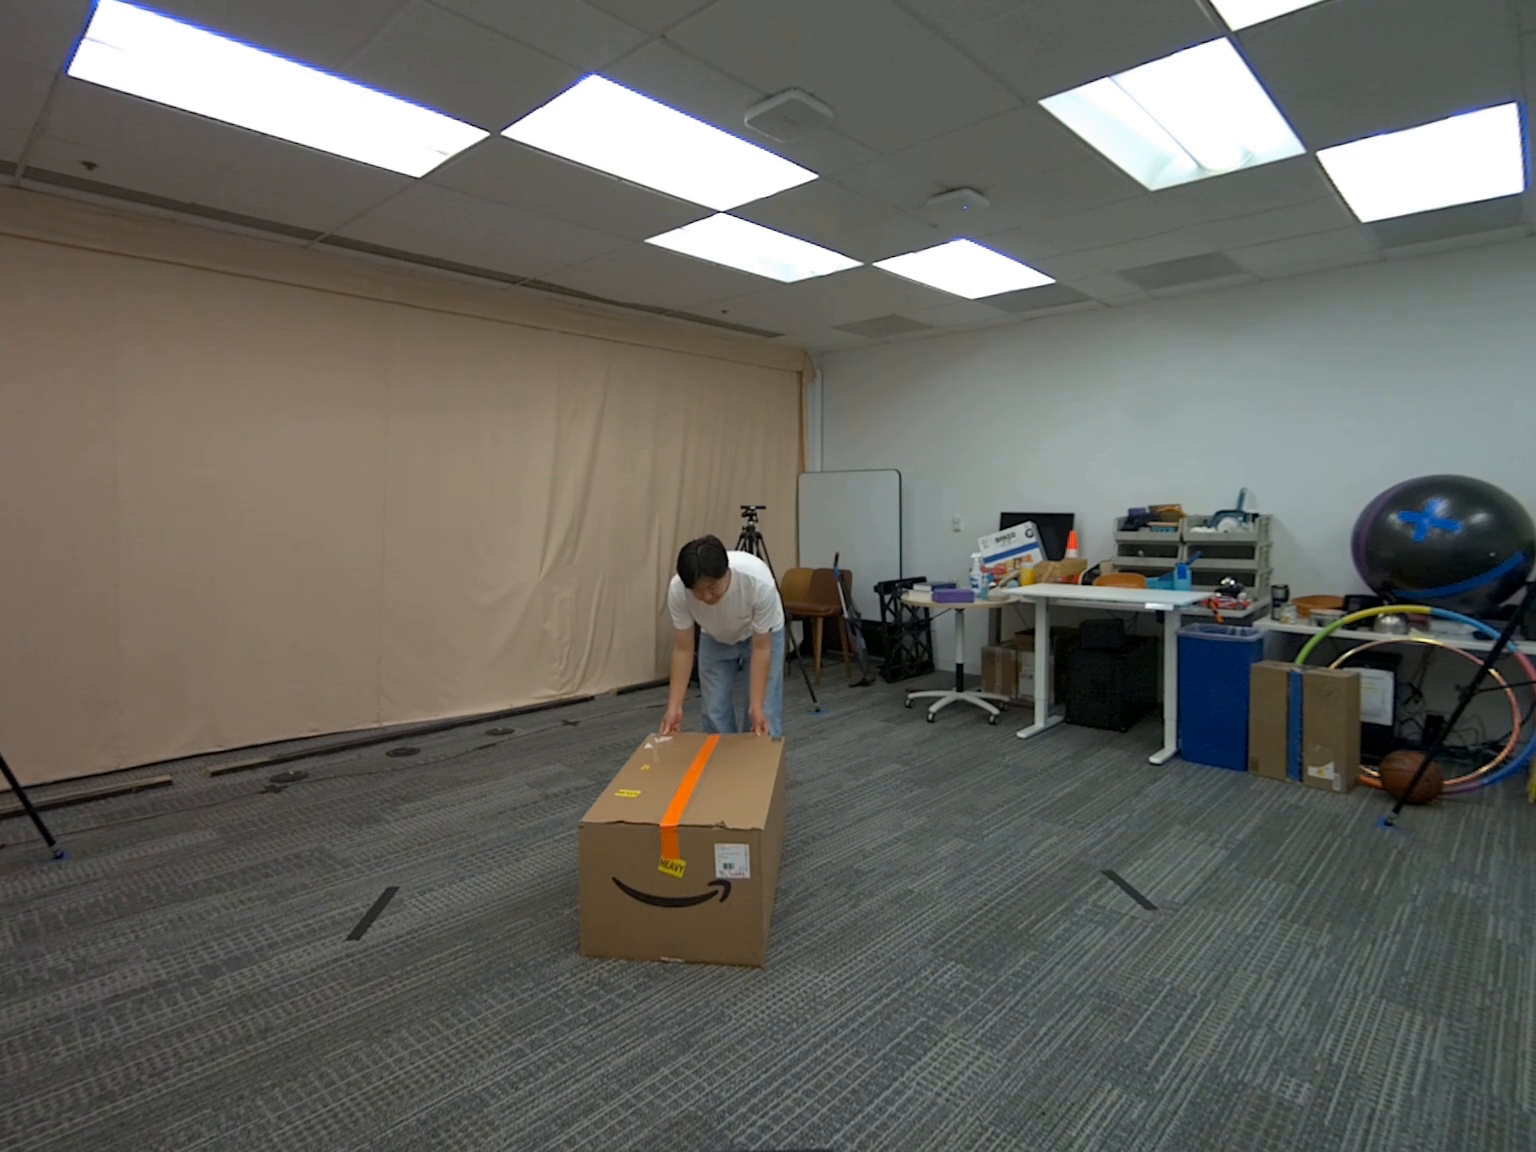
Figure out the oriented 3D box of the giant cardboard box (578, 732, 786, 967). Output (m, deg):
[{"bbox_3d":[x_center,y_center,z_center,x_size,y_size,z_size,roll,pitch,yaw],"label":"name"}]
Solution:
[{"bbox_3d":[-0.263,0.918,3.060,0.582,0.425,1.021,-1,5,6],"label":"giant cardboard box"}]
